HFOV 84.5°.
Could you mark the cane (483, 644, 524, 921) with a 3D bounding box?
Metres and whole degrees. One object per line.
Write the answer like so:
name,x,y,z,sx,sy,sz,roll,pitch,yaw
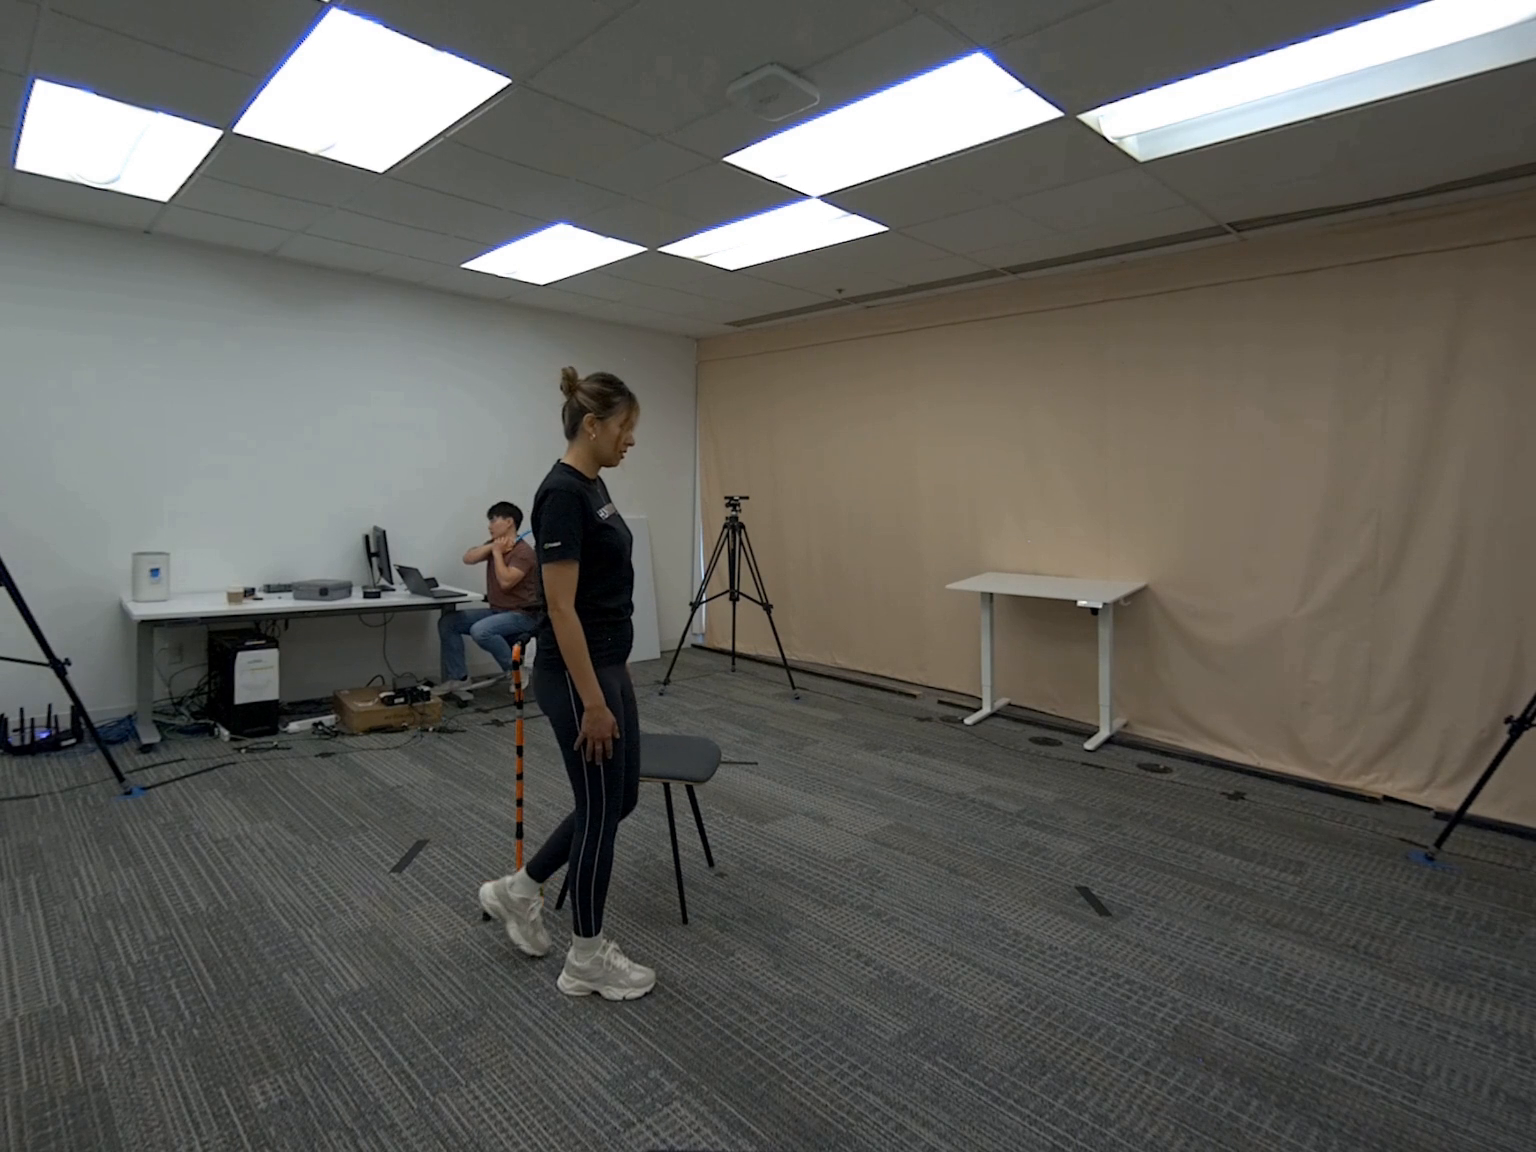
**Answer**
cane,-0.849,0.665,2.803,0.152,0.905,0.206,2,4,1
